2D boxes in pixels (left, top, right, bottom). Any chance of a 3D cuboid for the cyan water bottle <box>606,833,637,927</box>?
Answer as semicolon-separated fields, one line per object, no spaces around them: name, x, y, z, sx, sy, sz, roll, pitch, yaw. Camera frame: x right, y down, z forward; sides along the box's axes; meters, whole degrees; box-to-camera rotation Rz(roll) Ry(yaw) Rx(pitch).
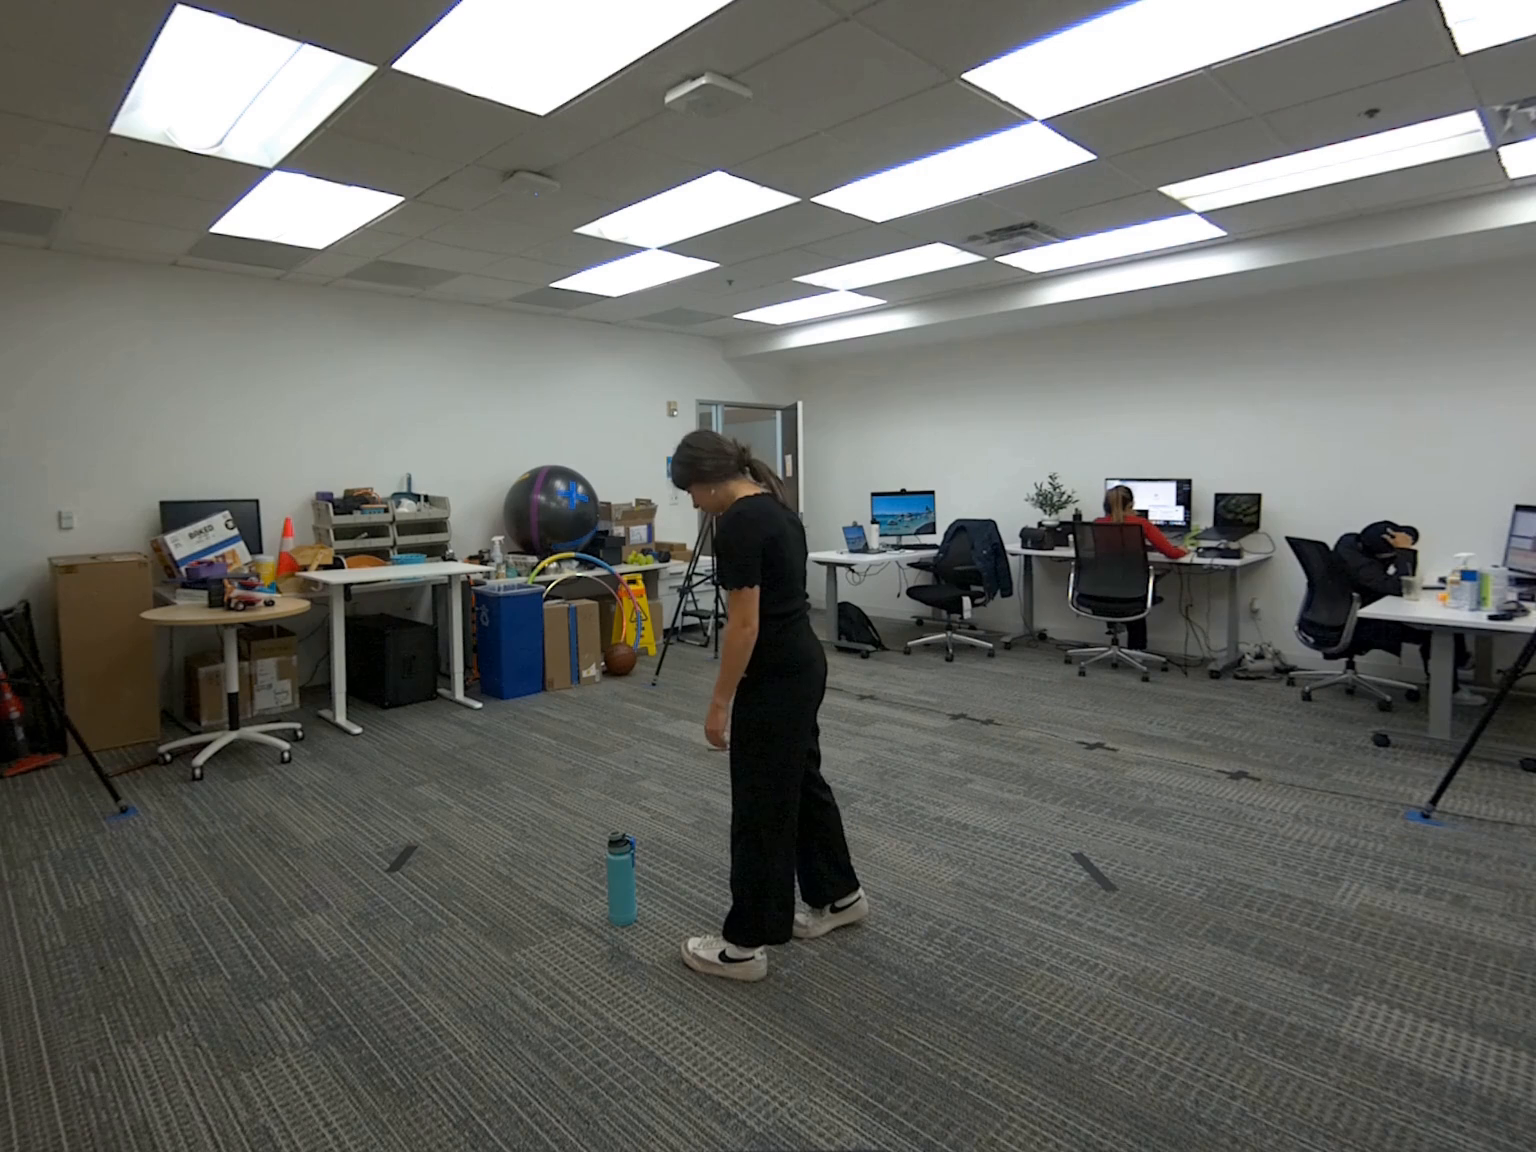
cyan water bottle;-0.466;0.962;2.721;0.092;0.282;0.093;-1;4;-2
